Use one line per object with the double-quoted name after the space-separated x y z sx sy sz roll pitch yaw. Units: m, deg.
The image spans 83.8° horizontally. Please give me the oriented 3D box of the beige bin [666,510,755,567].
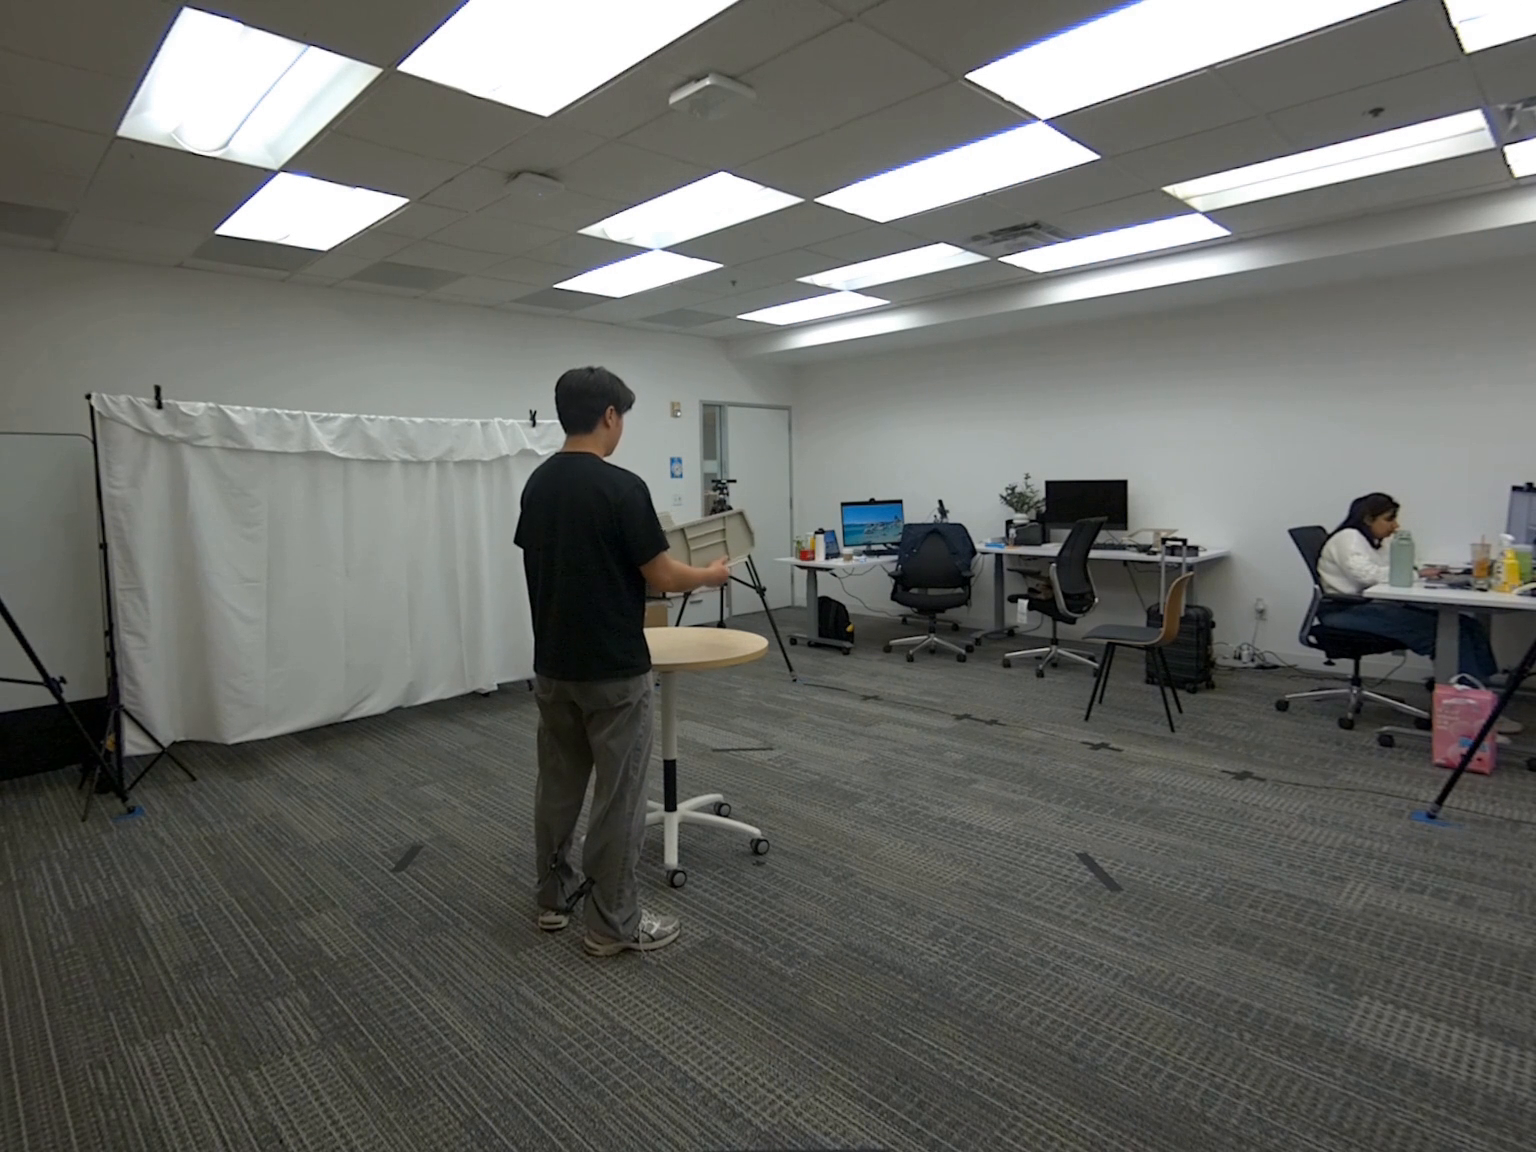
-0.318 -0.108 2.910 0.370 0.187 0.435 -19 14 -41 "beige bin"
